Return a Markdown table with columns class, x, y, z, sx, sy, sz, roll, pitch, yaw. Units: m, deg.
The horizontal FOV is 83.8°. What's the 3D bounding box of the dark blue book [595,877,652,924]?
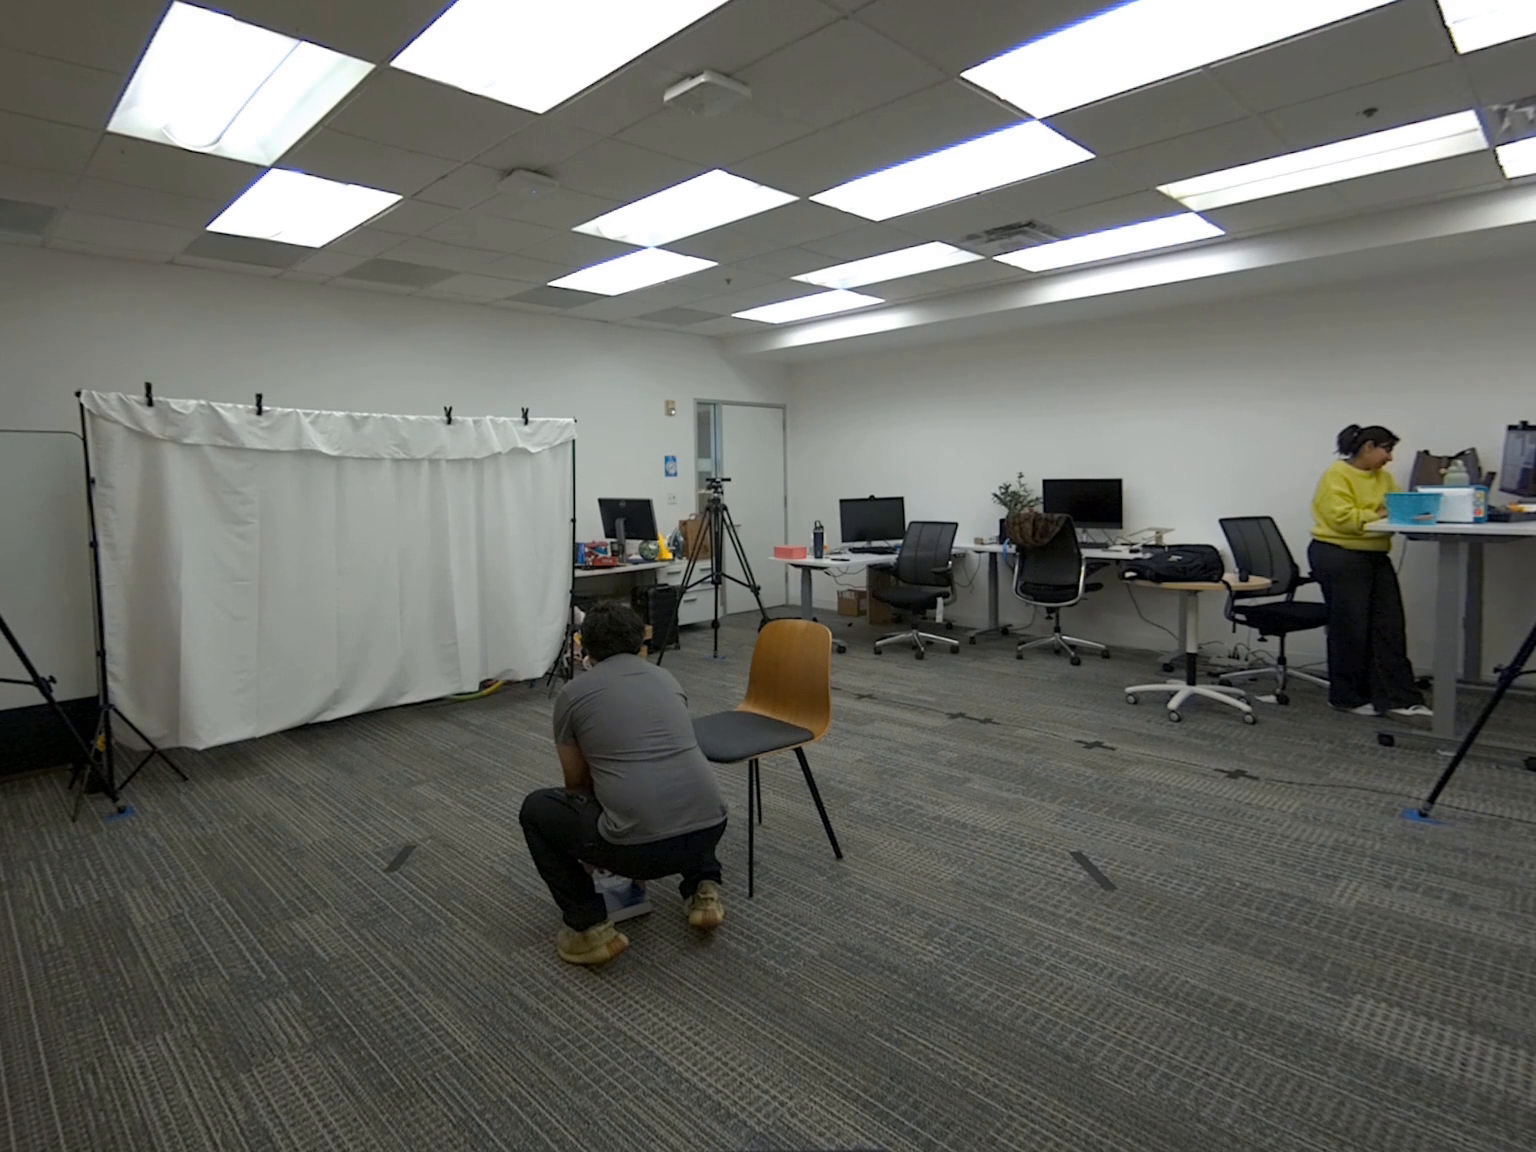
| class | x | y | z | sx | sy | sz | roll | pitch | yaw |
| --- | --- | --- | --- | --- | --- | --- | --- | --- | --- |
| dark blue book | -0.499 | 1.060 | 2.818 | 0.159 | 0.045 | 0.252 | -5 | 7 | -33 |
